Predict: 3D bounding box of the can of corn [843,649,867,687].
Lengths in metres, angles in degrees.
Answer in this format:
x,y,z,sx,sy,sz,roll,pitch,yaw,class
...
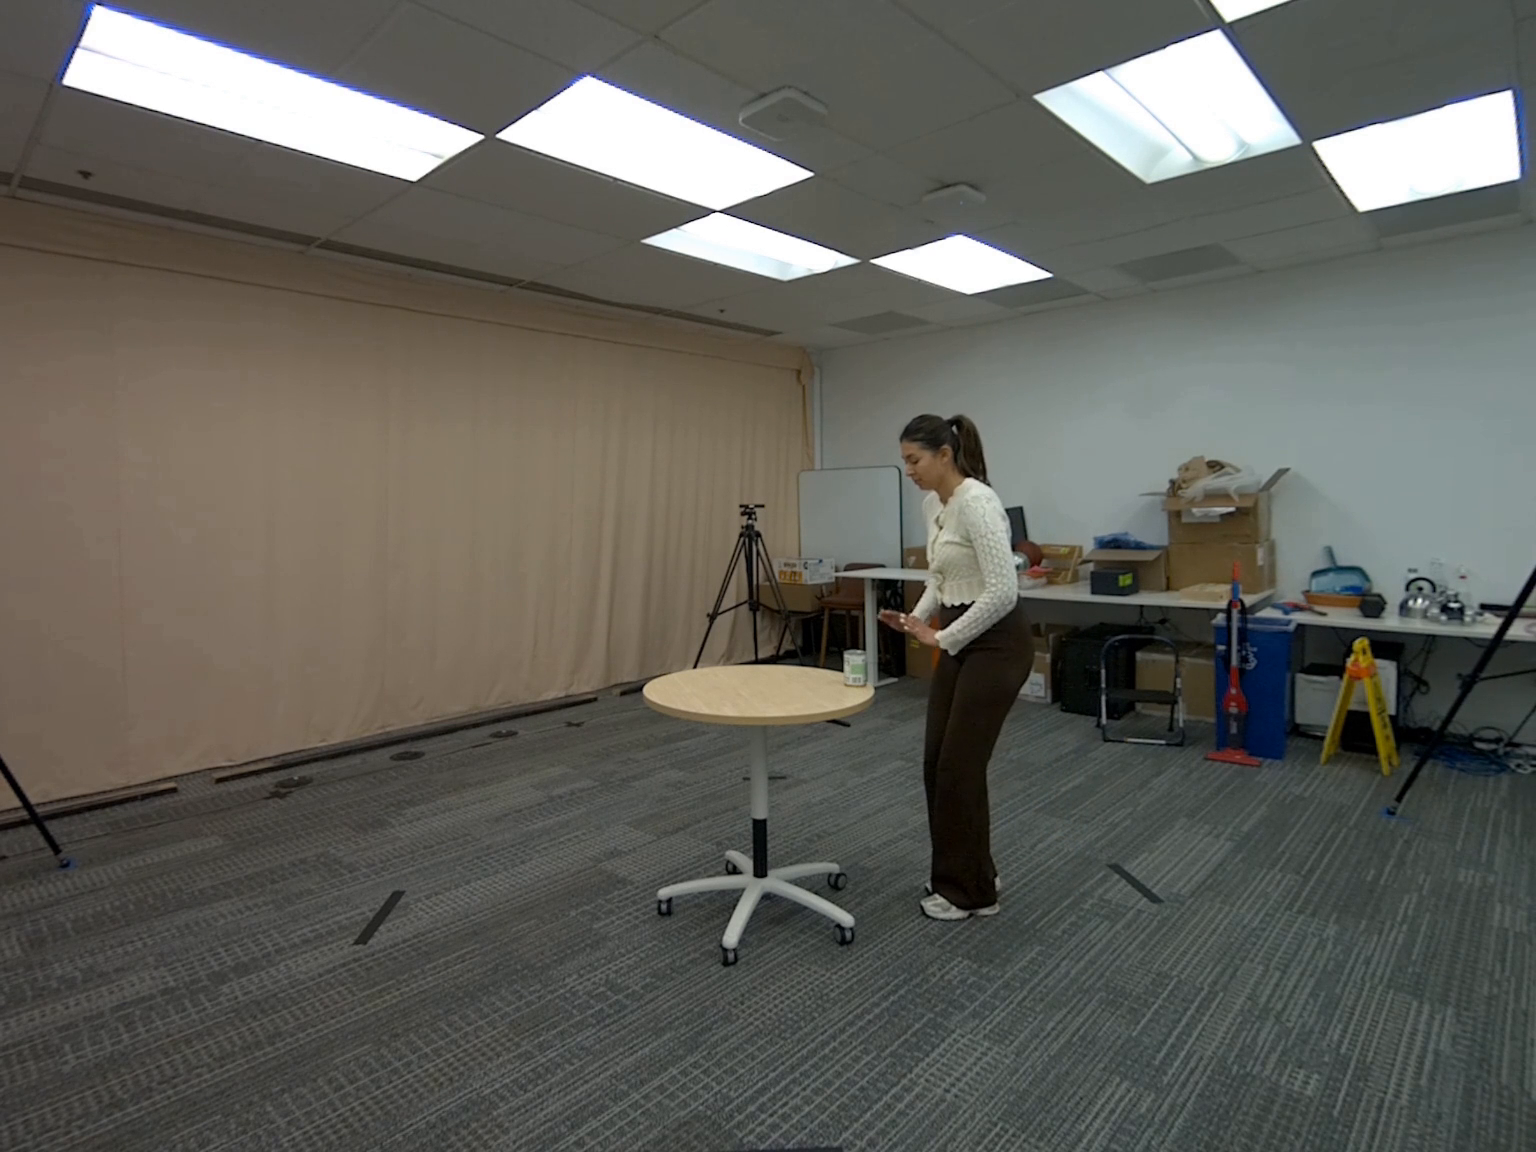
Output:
x,y,z,sx,sy,sz,roll,pitch,yaw,class
0.301,0.315,2.824,0.074,0.111,0.074,1,4,-2,can of corn
